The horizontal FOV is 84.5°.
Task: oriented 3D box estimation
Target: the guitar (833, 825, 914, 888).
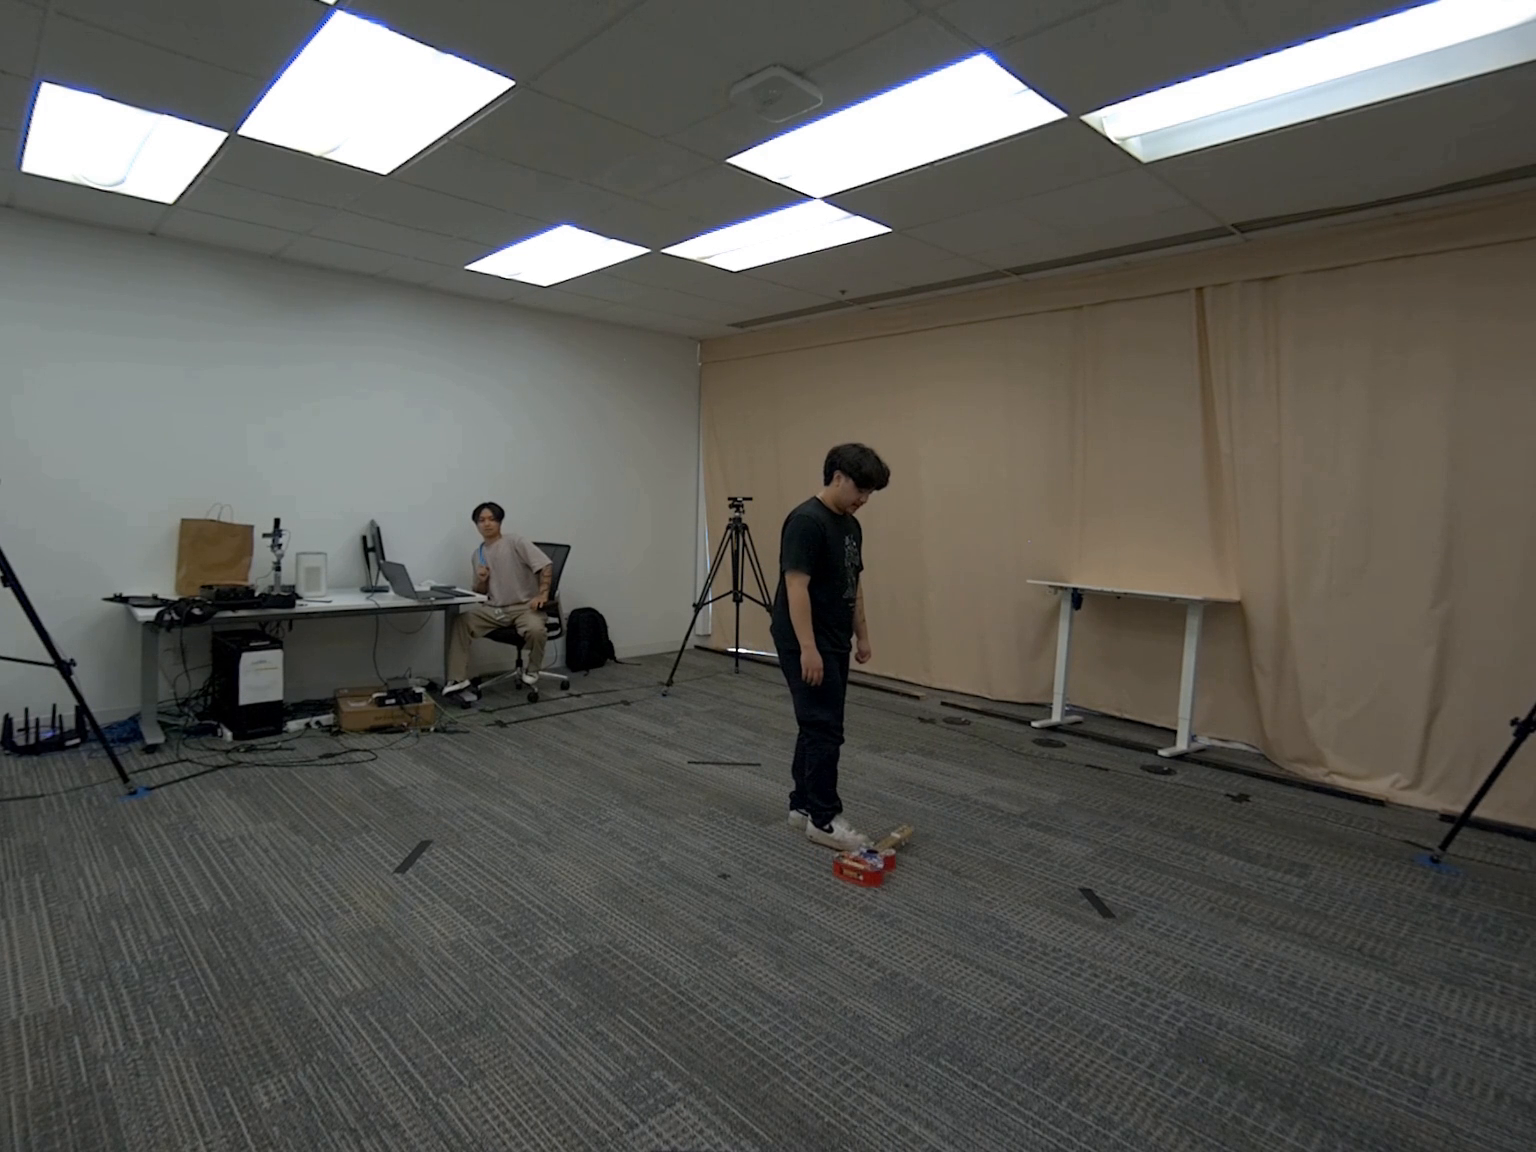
[{"bbox_3d":[0.455,1.074,3.249,0.486,0.070,0.198,-4,7,-45],"label":"guitar"}]
